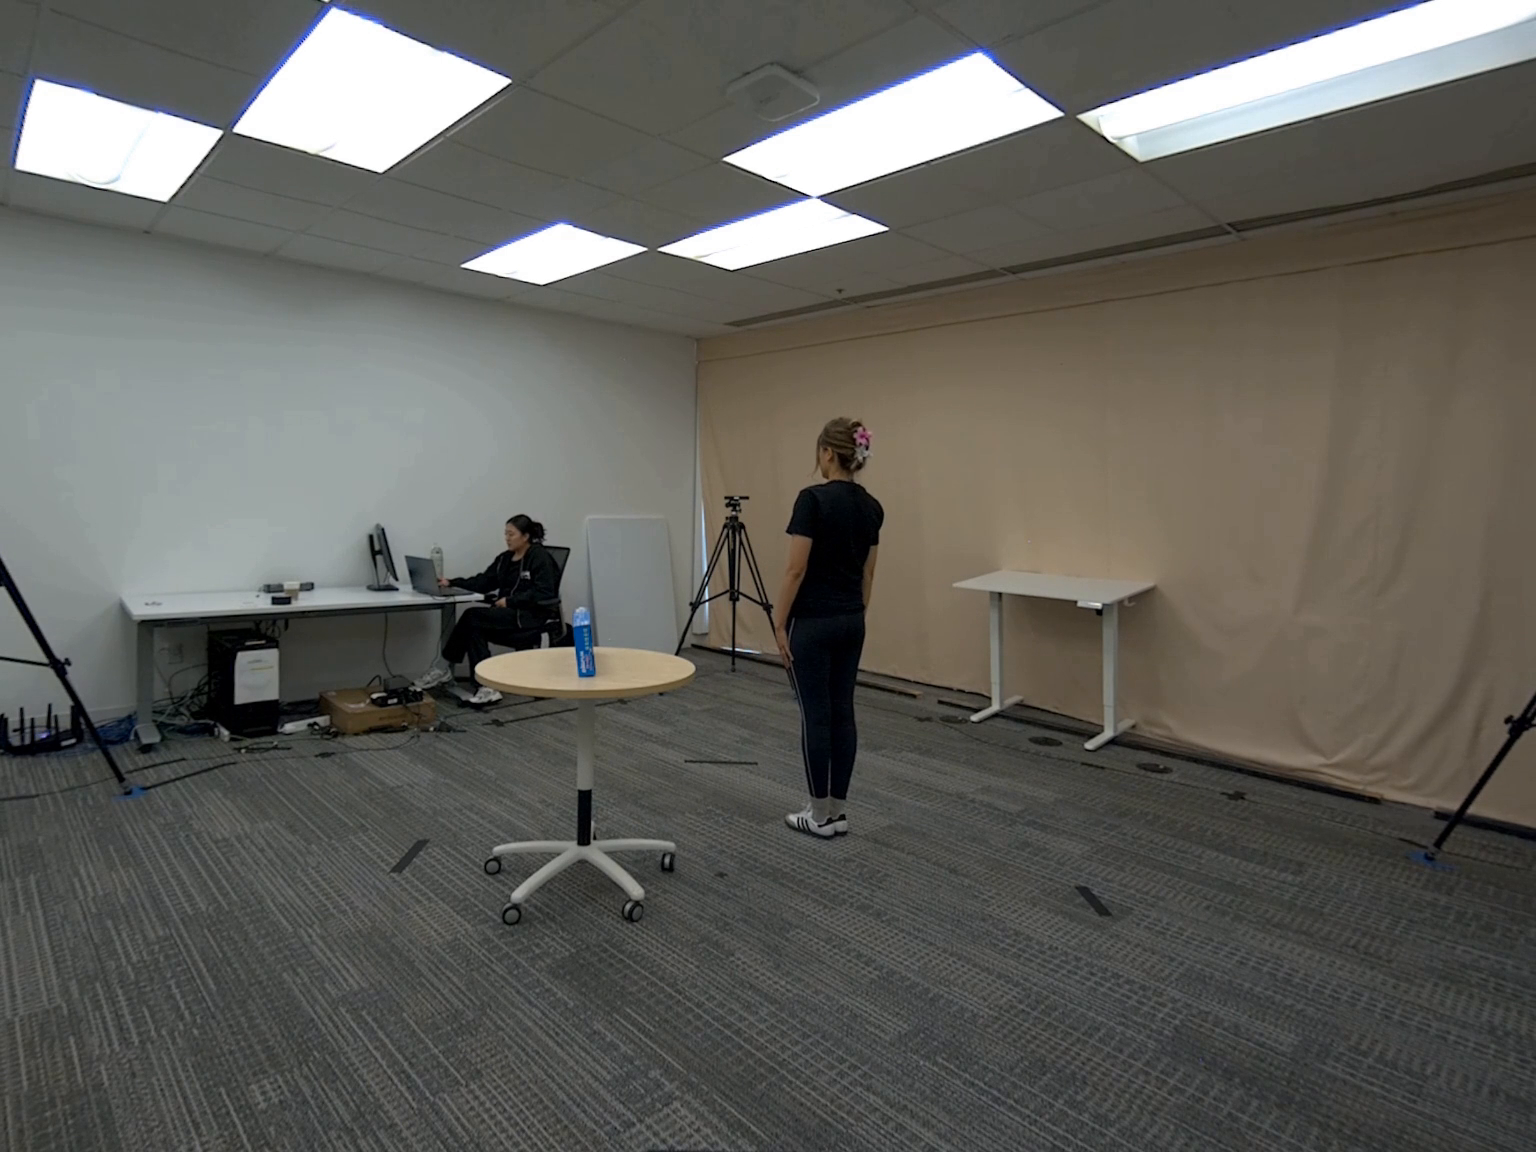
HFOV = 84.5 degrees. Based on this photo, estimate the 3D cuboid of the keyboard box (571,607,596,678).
[{"bbox_3d":[-0.663,0.228,2.998,0.058,0.175,0.442,-4,6,-12],"label":"keyboard box"}]
